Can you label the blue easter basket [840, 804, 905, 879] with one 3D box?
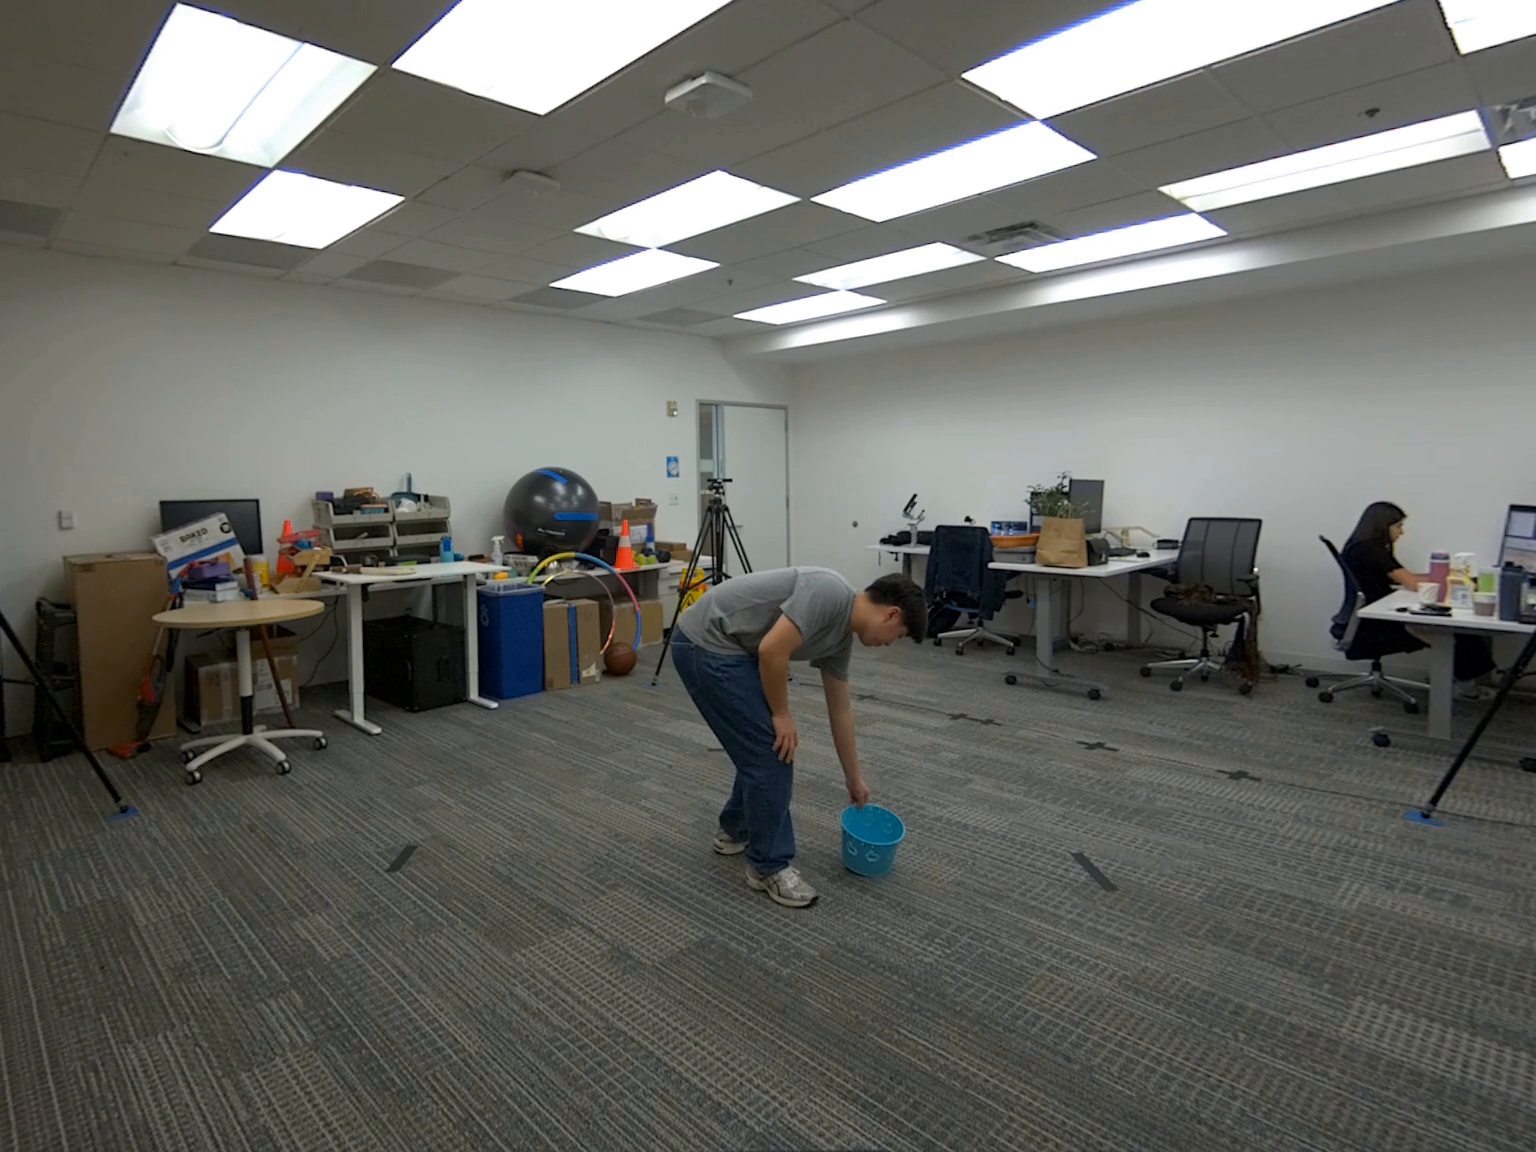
[{"bbox_3d":[0.373,0.948,3.048,0.243,0.154,0.248,5,19,-3],"label":"blue easter basket"}]
